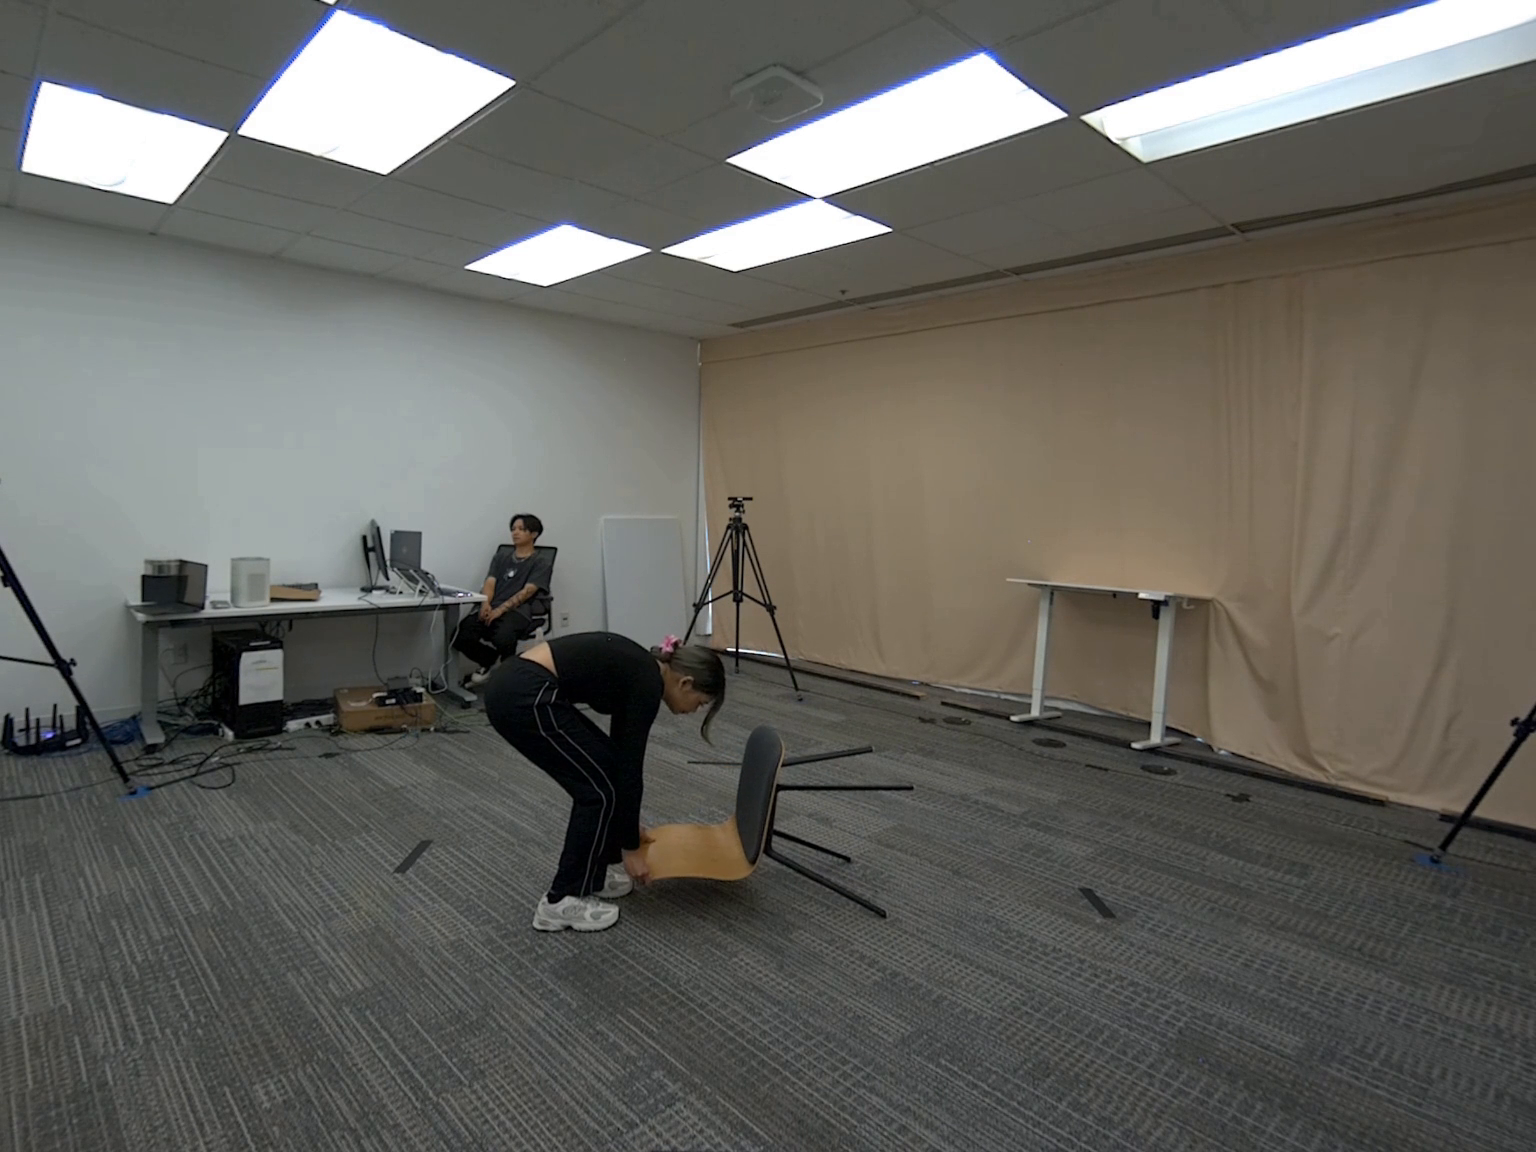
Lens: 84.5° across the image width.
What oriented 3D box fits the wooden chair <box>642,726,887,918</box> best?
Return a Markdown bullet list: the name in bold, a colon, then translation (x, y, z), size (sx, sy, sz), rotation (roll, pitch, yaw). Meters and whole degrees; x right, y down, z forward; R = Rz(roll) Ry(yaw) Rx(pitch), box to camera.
- **wooden chair**: translation (-0.022, 0.811, 2.973), size (0.870, 0.522, 0.483), rotation (7, 3, -9)
